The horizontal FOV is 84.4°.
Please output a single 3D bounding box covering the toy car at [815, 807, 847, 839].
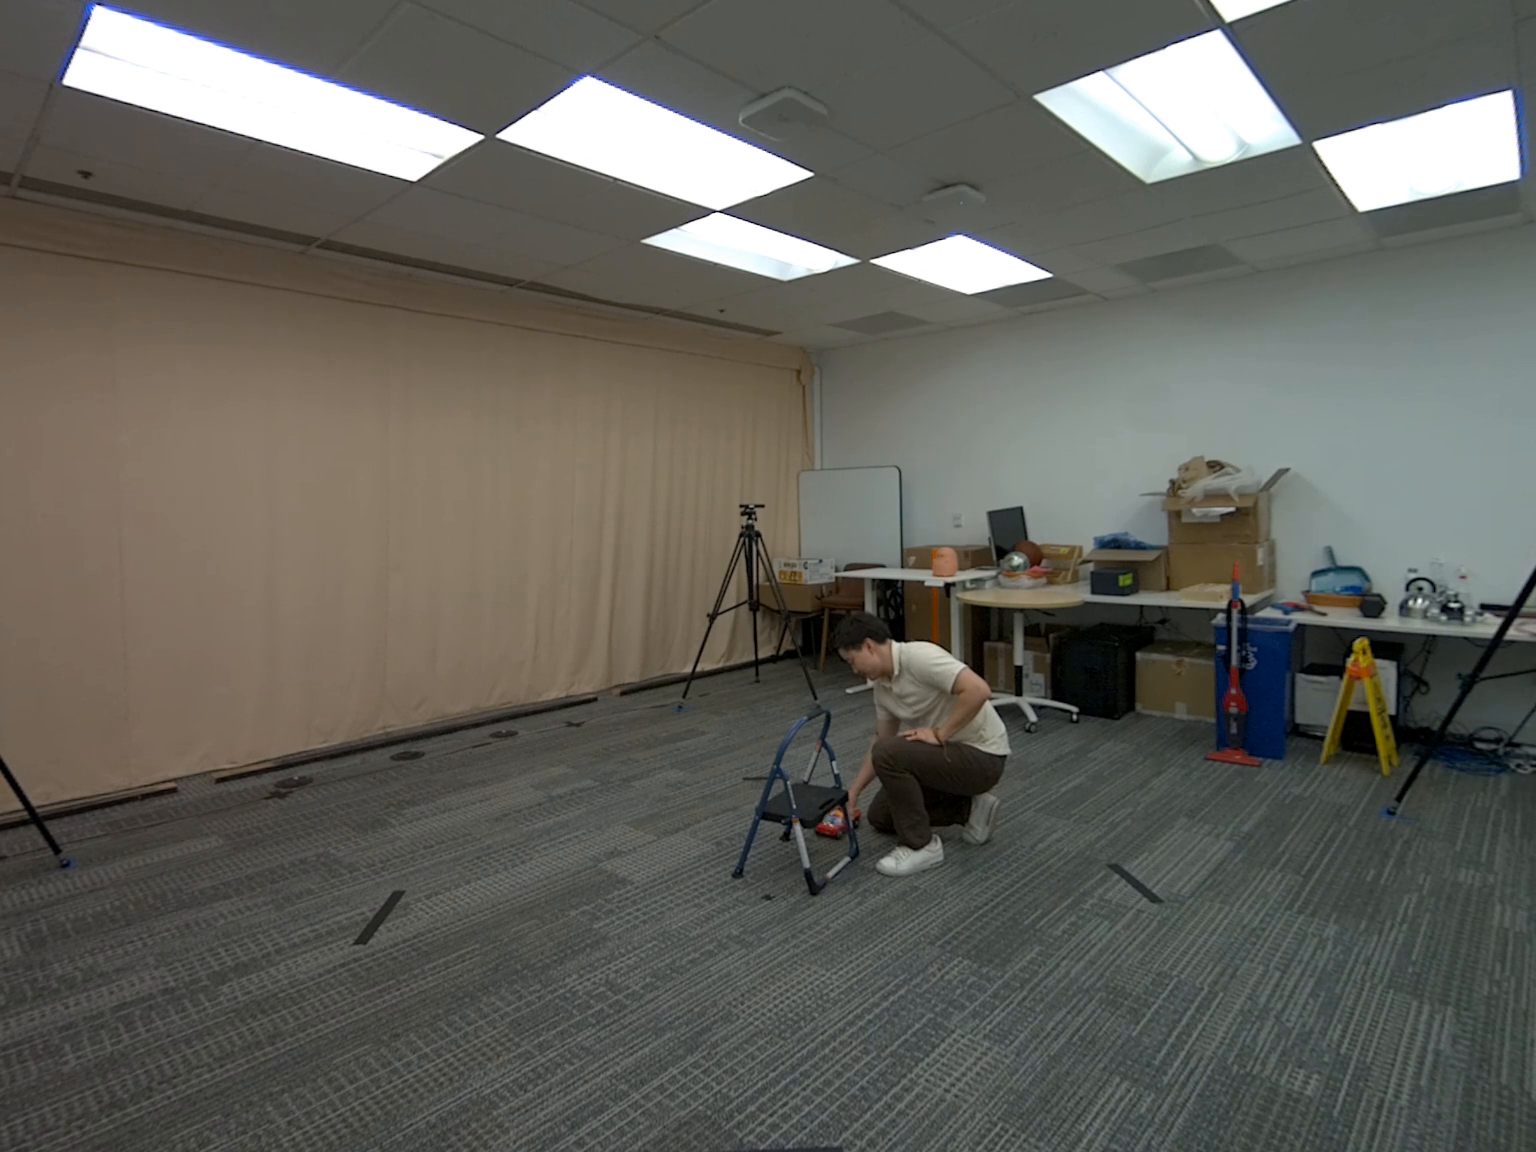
[{"bbox_3d":[0.306,1.055,3.607,0.134,0.082,0.249,-1,14,36],"label":"toy car"}]
